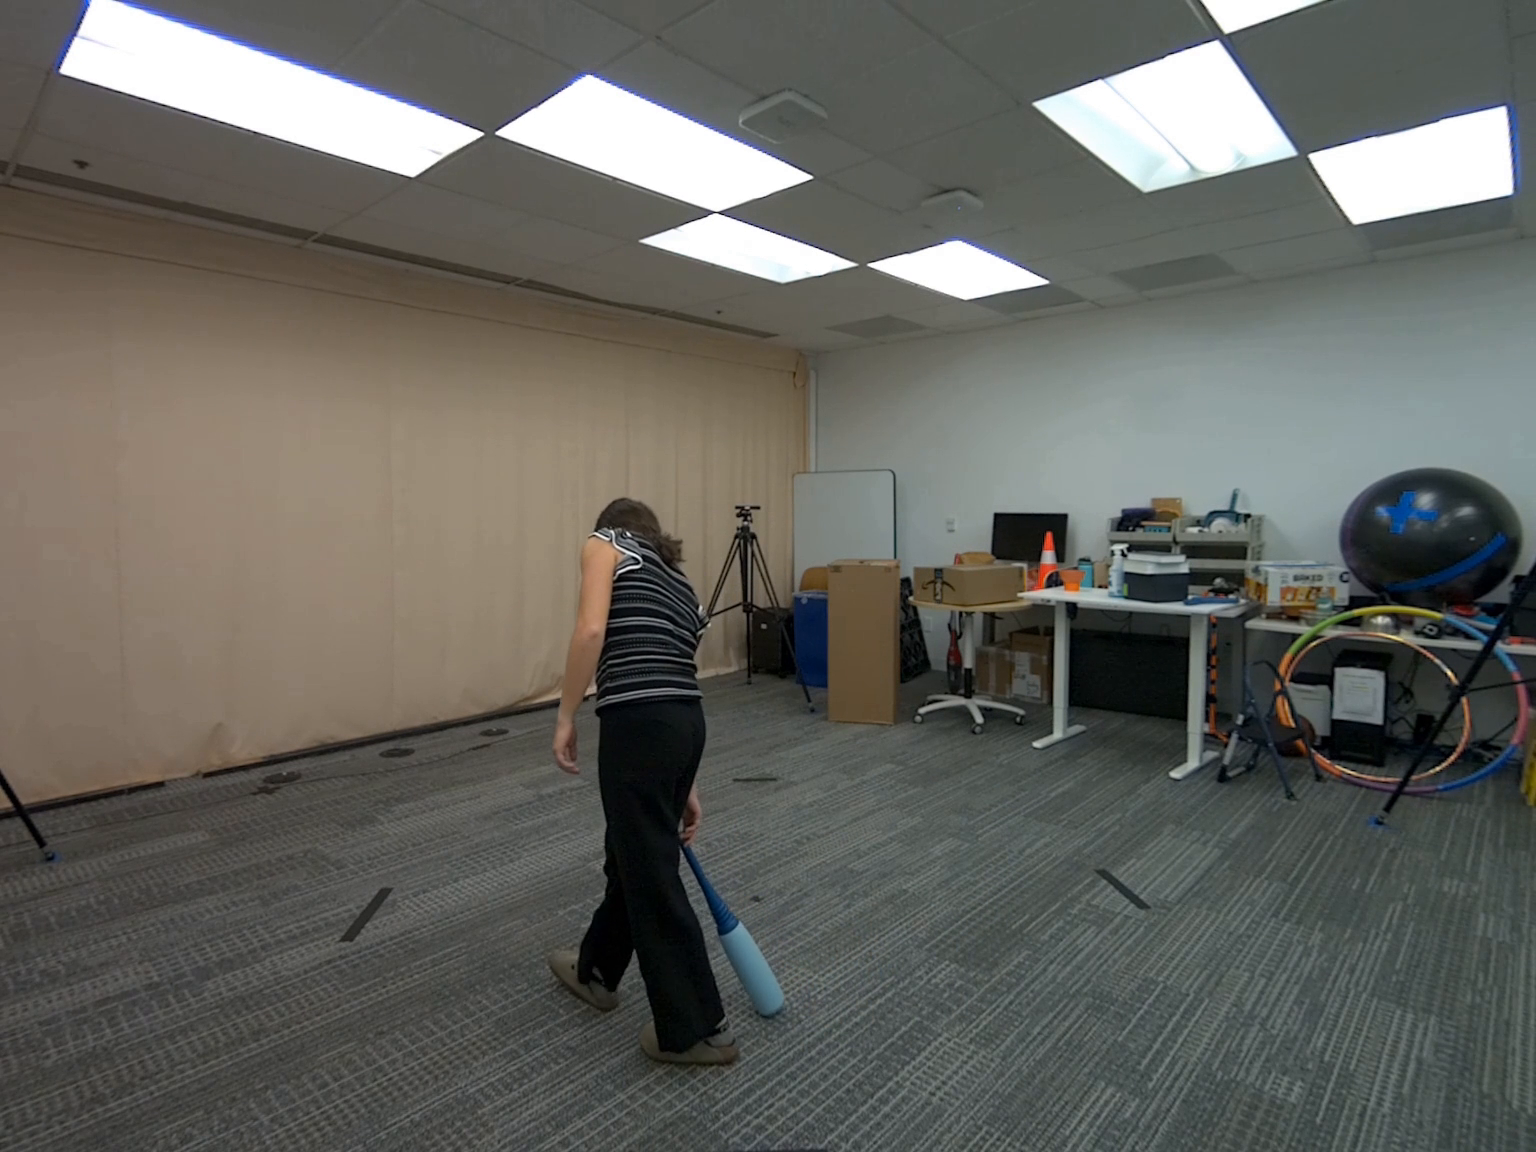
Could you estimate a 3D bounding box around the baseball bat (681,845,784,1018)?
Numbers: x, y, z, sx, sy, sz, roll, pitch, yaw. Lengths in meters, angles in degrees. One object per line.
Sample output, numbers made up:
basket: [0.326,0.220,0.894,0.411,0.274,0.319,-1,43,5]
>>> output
baseball bat: [-0.117,0.956,2.311,0.089,0.543,0.089,-29,0,-1]
